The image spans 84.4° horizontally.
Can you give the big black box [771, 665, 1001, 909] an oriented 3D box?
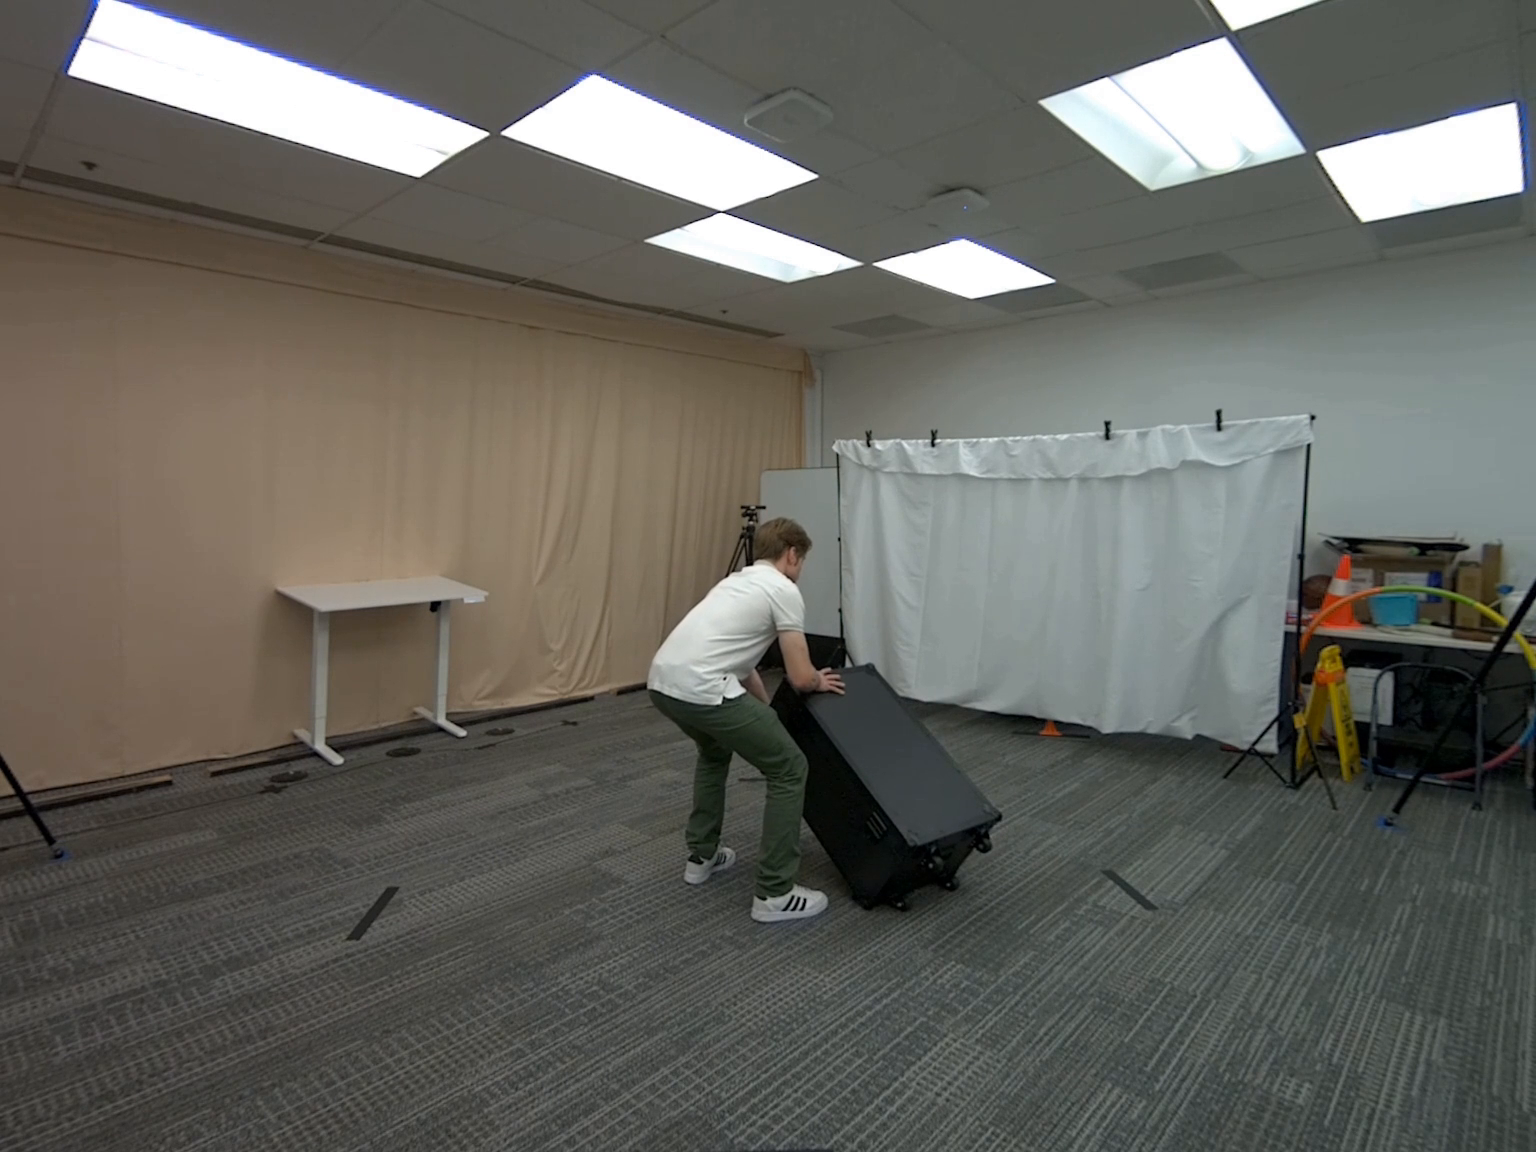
[{"bbox_3d":[0.399,0.782,3.164,0.507,0.384,0.898,-2,39,-38],"label":"big black box"}]
